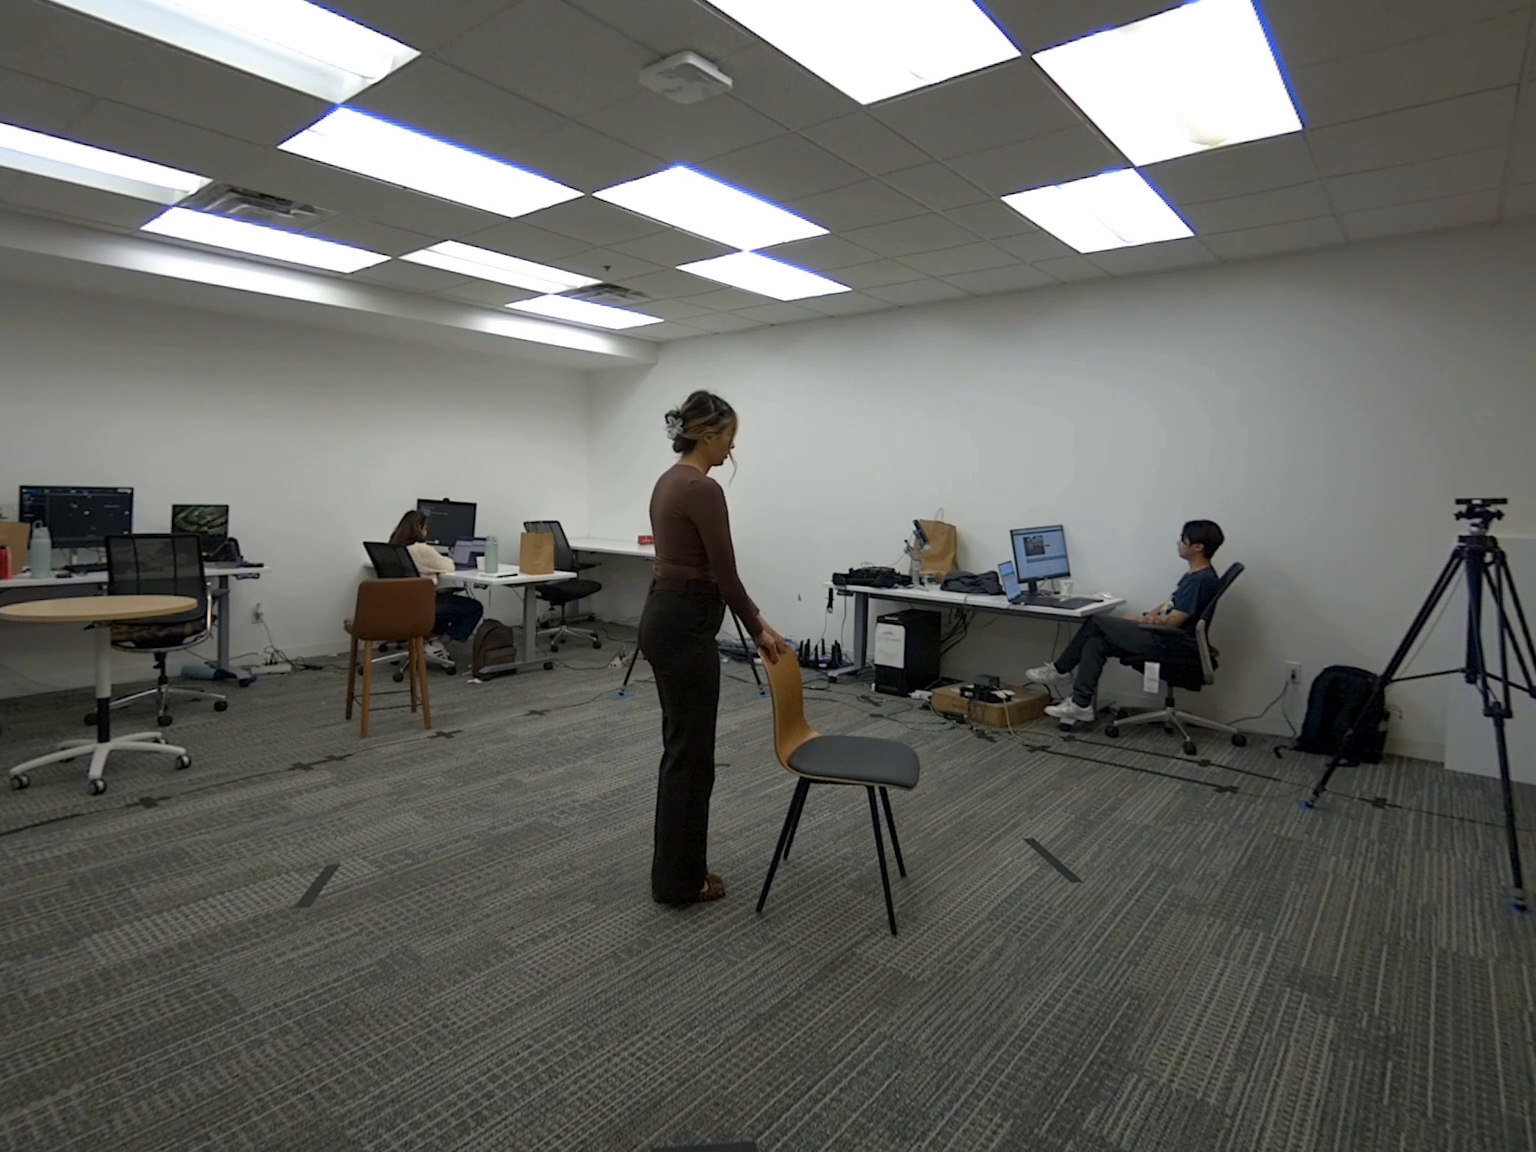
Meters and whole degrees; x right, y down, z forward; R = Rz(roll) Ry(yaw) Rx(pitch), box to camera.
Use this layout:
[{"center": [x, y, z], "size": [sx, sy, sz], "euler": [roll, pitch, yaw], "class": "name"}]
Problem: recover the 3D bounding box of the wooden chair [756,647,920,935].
[{"center": [0.244, 0.672, 2.906], "size": [0.532, 0.876, 0.471], "euler": [-2, 2, 15], "class": "wooden chair"}]
